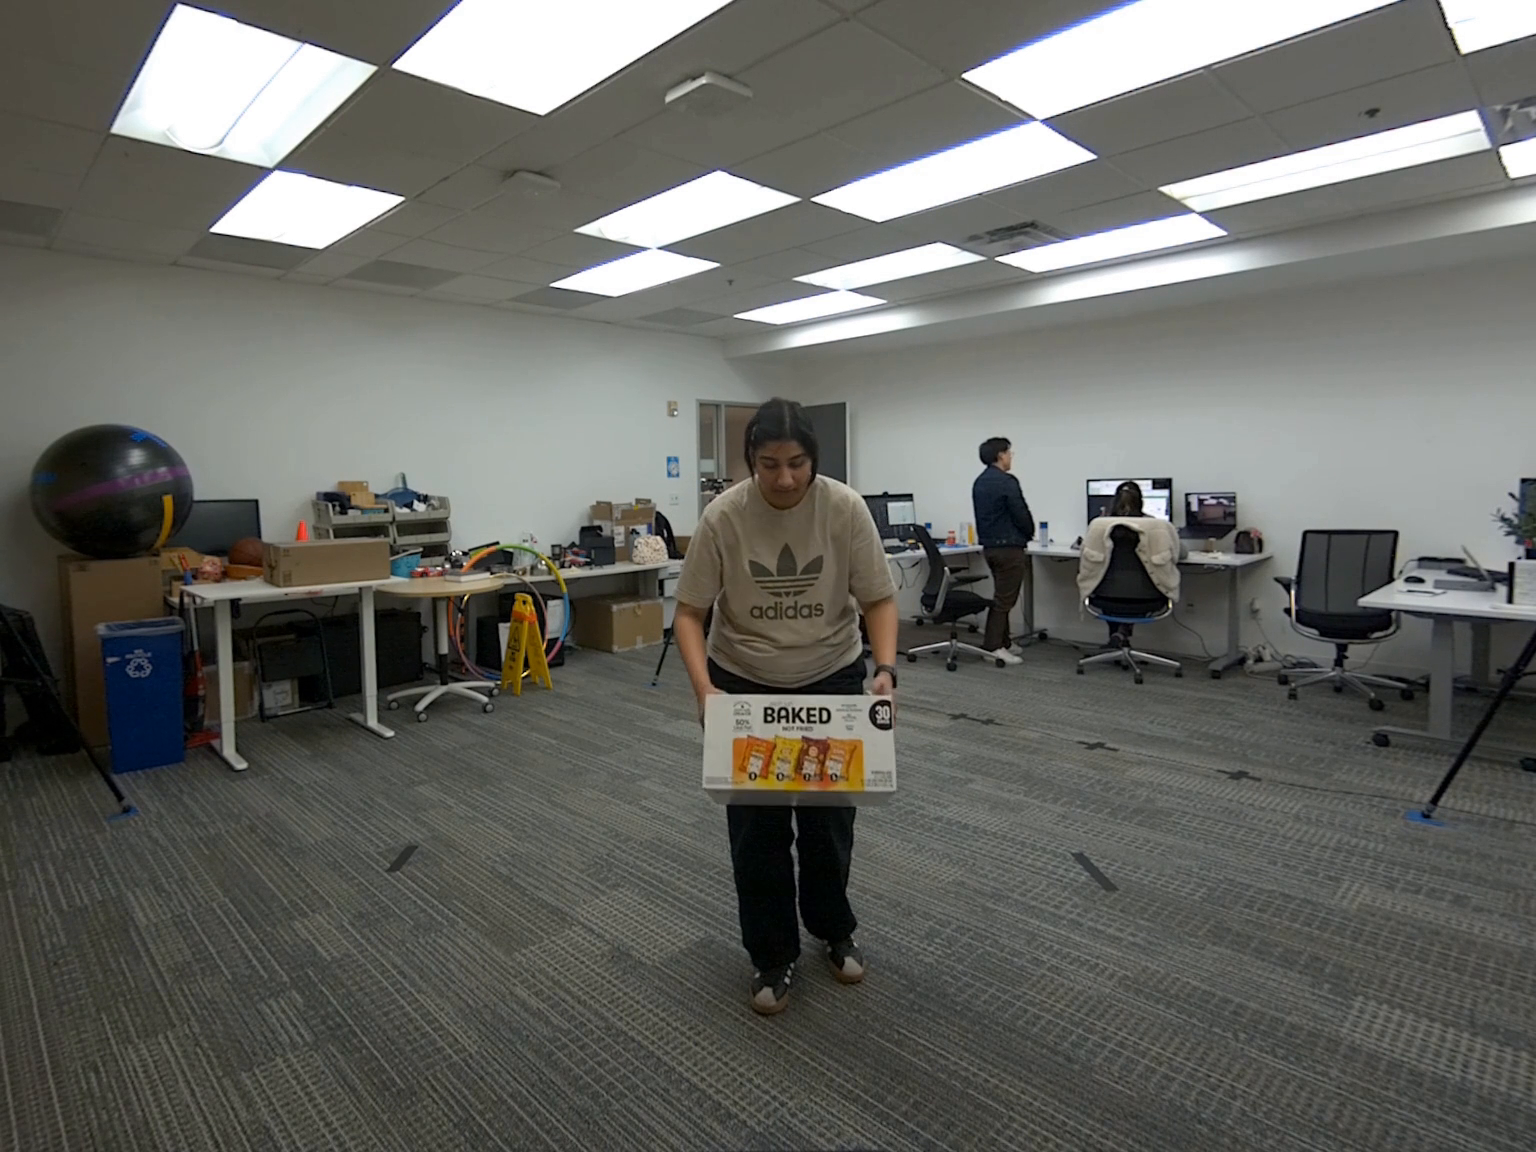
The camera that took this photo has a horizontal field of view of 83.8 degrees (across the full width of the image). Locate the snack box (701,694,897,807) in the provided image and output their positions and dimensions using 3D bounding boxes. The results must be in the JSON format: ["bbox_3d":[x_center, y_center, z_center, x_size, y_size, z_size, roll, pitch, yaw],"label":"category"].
[{"bbox_3d":[0.077,0.420,1.975,0.407,0.209,0.333,0,-20,4],"label":"snack box"}]
